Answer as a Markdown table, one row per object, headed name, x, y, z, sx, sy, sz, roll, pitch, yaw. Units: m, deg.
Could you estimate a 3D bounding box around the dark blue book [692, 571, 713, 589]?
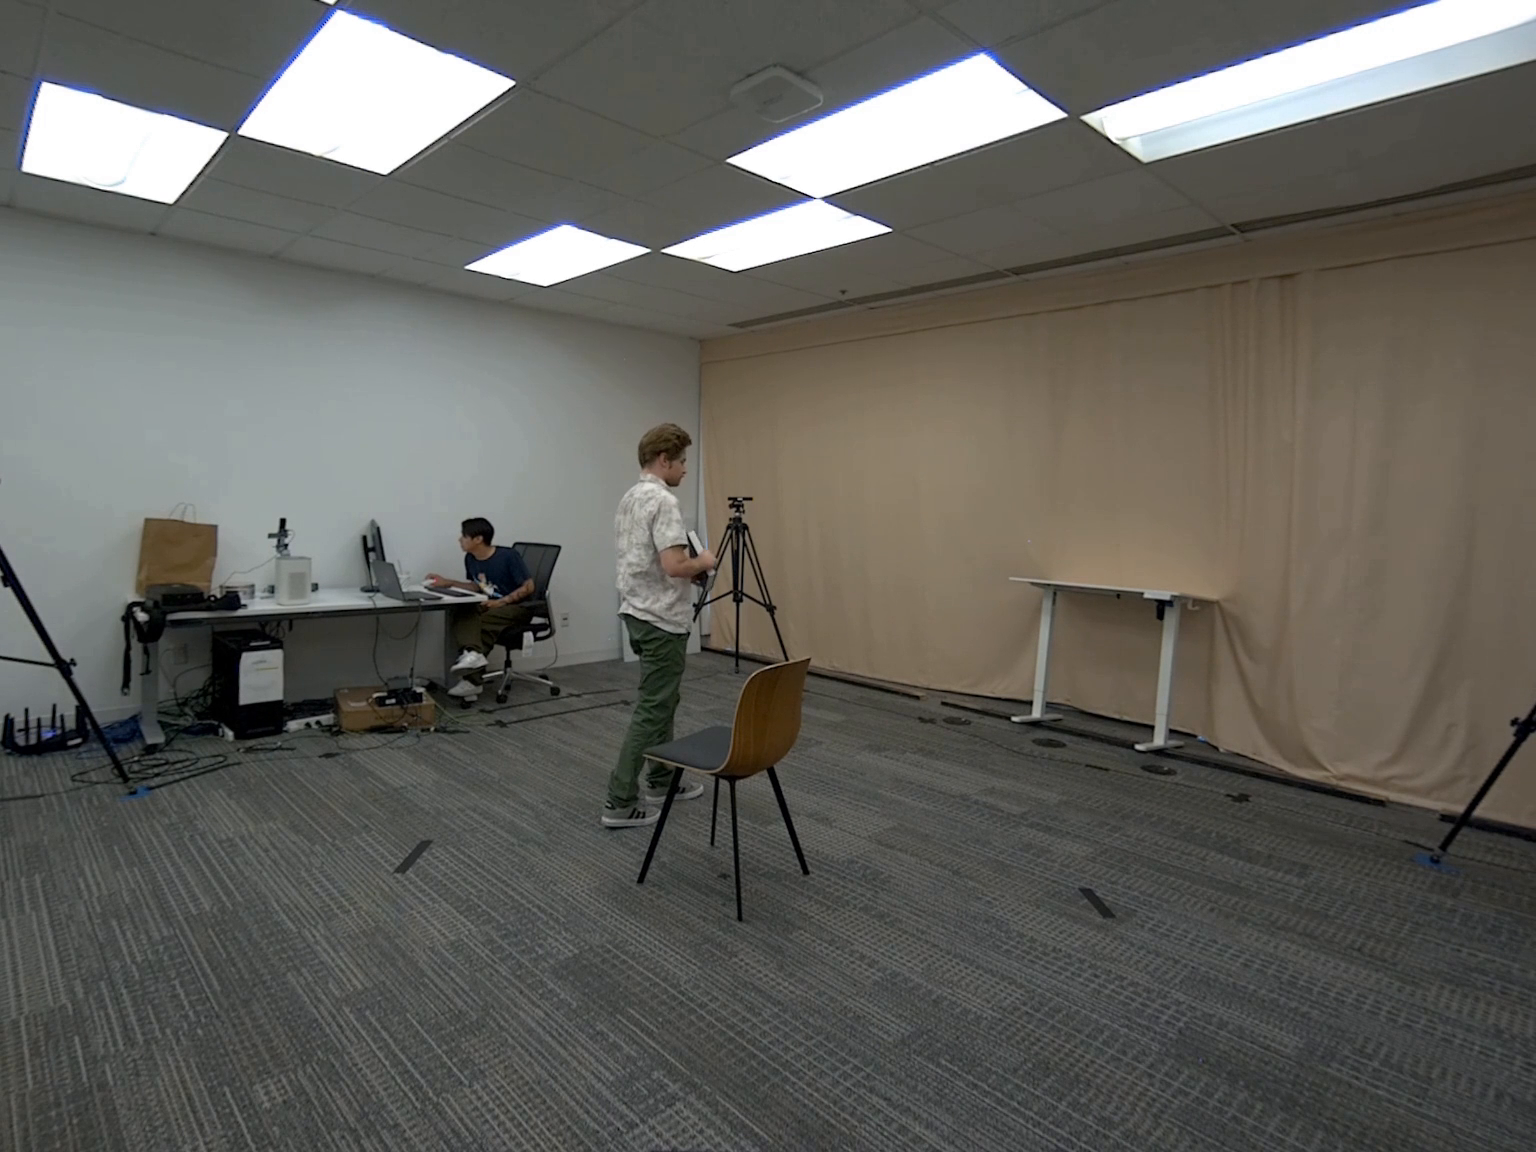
| name | x | y | z | sx | sy | sz | roll | pitch | yaw |
| --- | --- | --- | --- | --- | --- | --- | --- | --- | --- |
| dark blue book | -0.324 | -0.071 | 3.849 | 0.045 | 0.251 | 0.161 | -18 | -25 | -17 |
